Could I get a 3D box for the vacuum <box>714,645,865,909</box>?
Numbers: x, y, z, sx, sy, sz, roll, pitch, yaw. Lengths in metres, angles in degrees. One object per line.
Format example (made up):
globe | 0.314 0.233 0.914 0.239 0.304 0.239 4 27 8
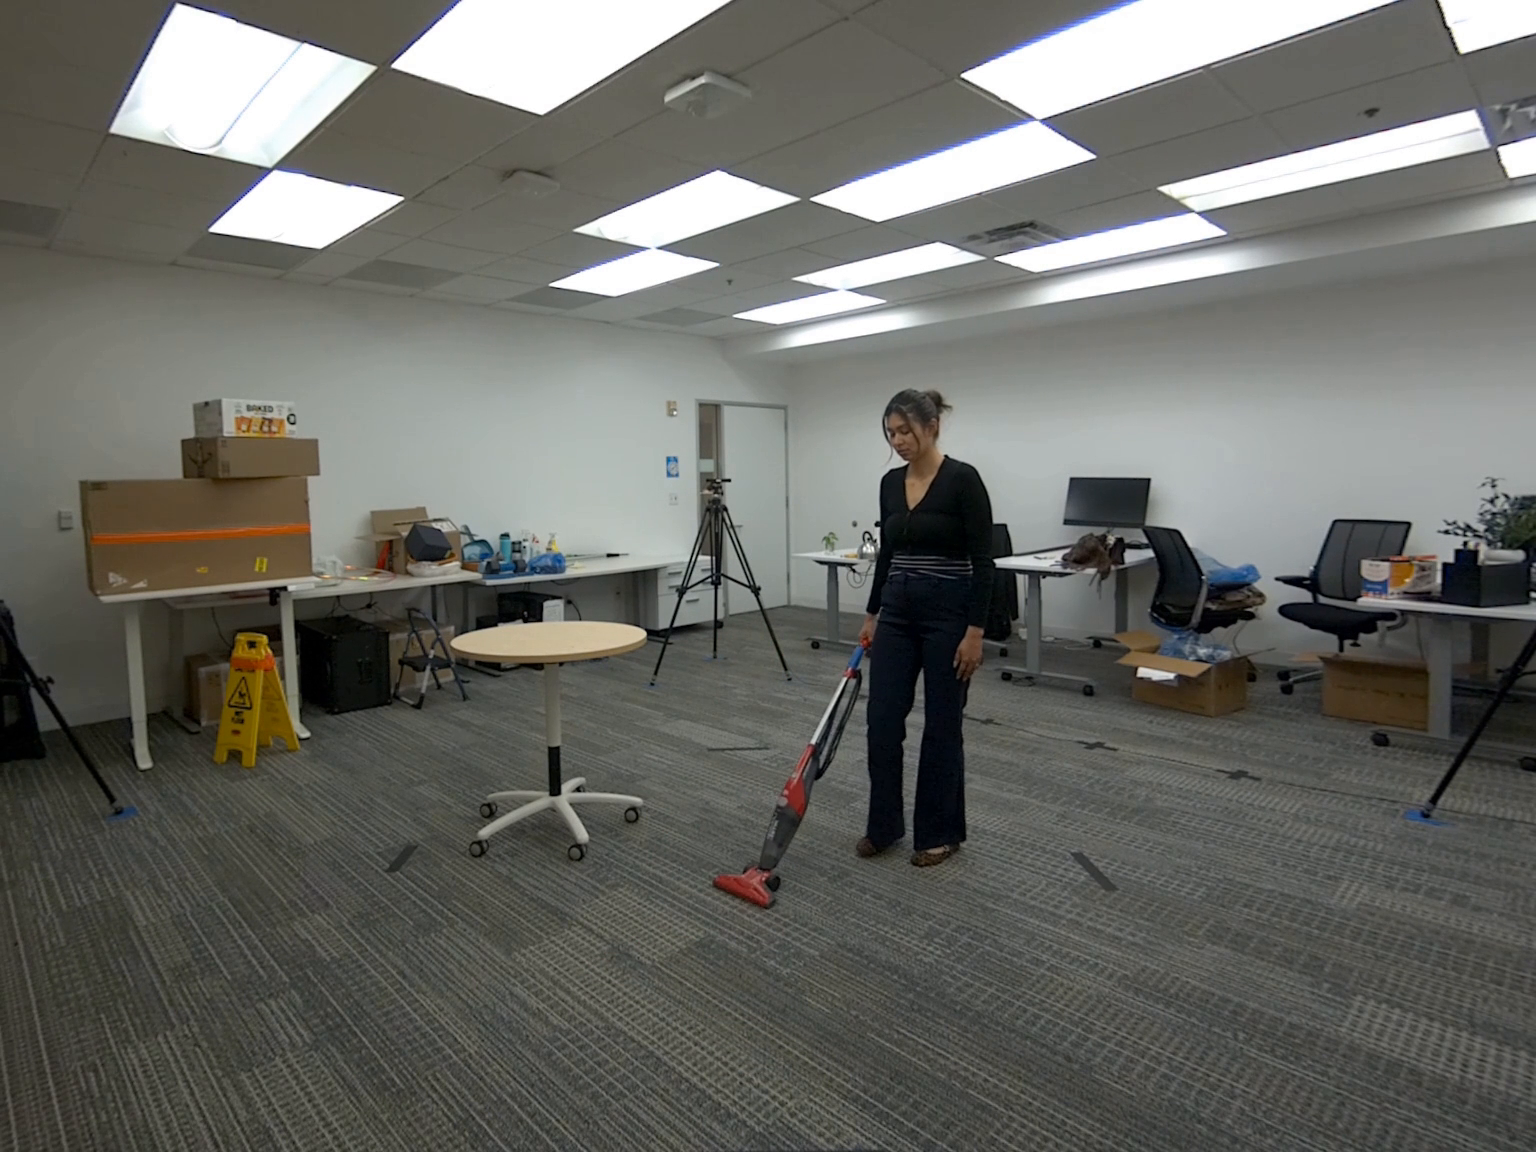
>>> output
vacuum | 0.167 0.658 3.116 0.260 1.057 0.138 5 -35 39
